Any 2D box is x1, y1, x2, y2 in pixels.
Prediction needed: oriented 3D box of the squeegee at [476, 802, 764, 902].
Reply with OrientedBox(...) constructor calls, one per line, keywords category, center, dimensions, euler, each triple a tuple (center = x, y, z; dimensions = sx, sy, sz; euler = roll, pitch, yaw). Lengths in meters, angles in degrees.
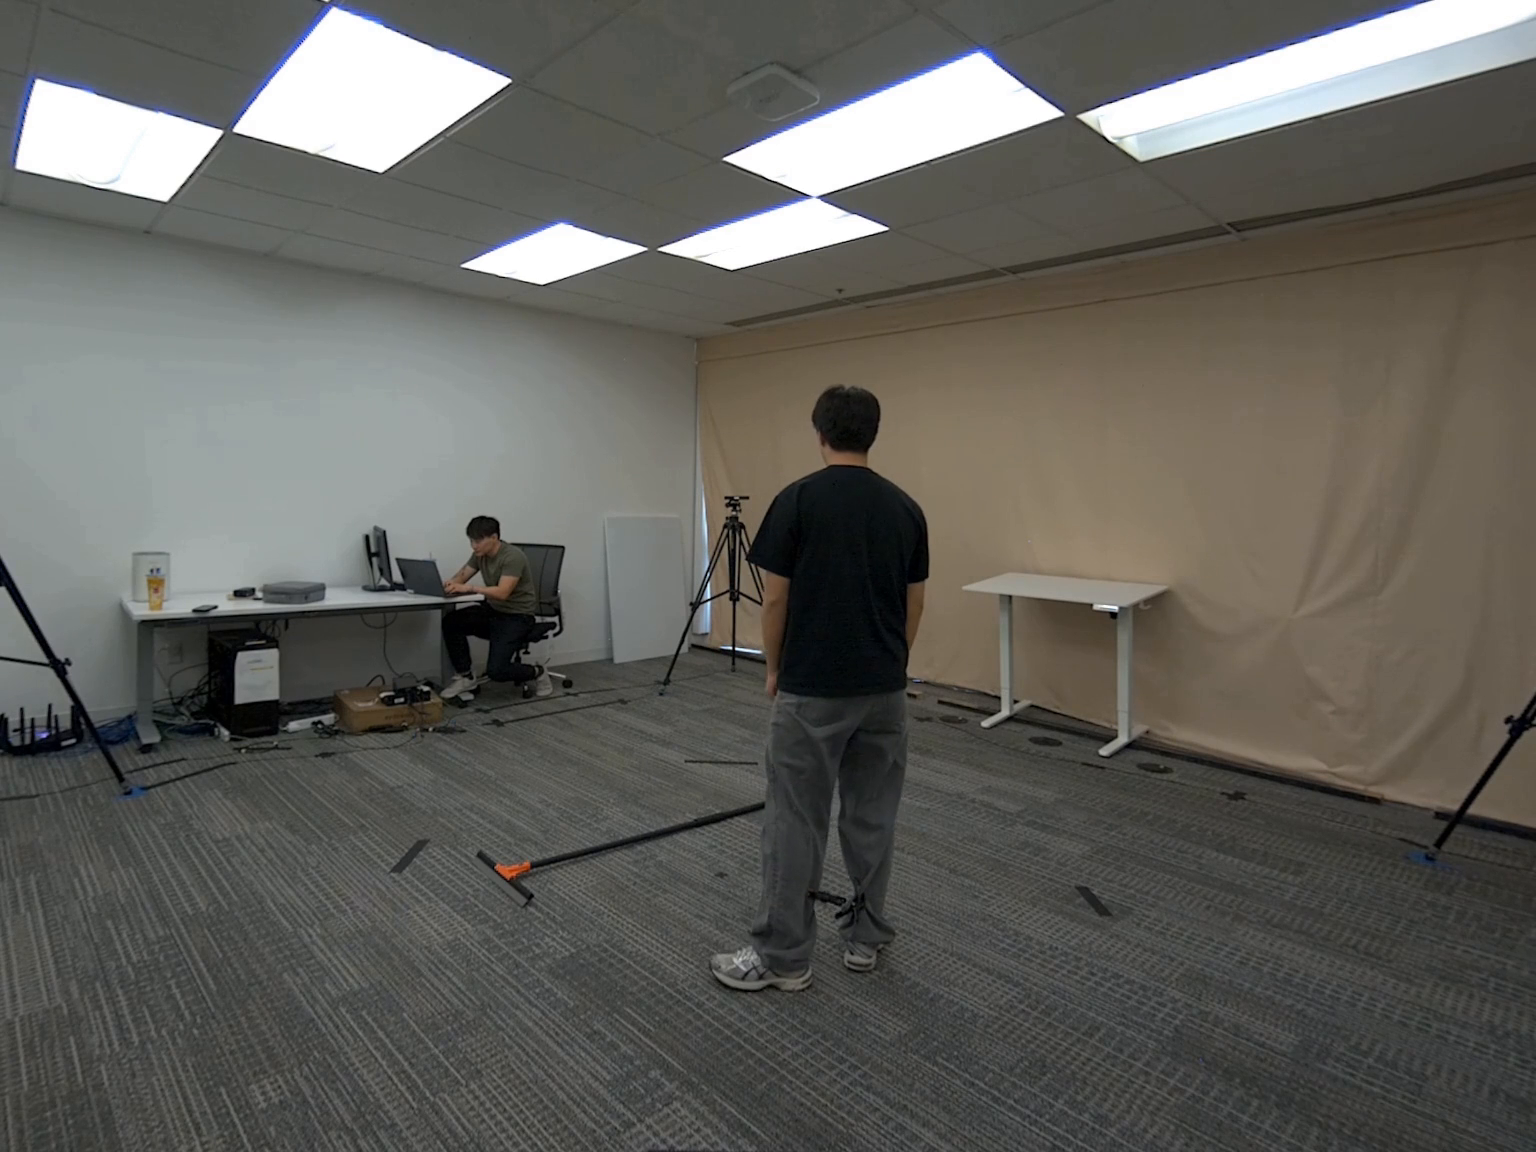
OrientedBox(category="squeegee", center=(-0.395, 1.031, 3.463), dimensions=(1.502, 0.053, 0.449), euler=(-2, 7, -39))
